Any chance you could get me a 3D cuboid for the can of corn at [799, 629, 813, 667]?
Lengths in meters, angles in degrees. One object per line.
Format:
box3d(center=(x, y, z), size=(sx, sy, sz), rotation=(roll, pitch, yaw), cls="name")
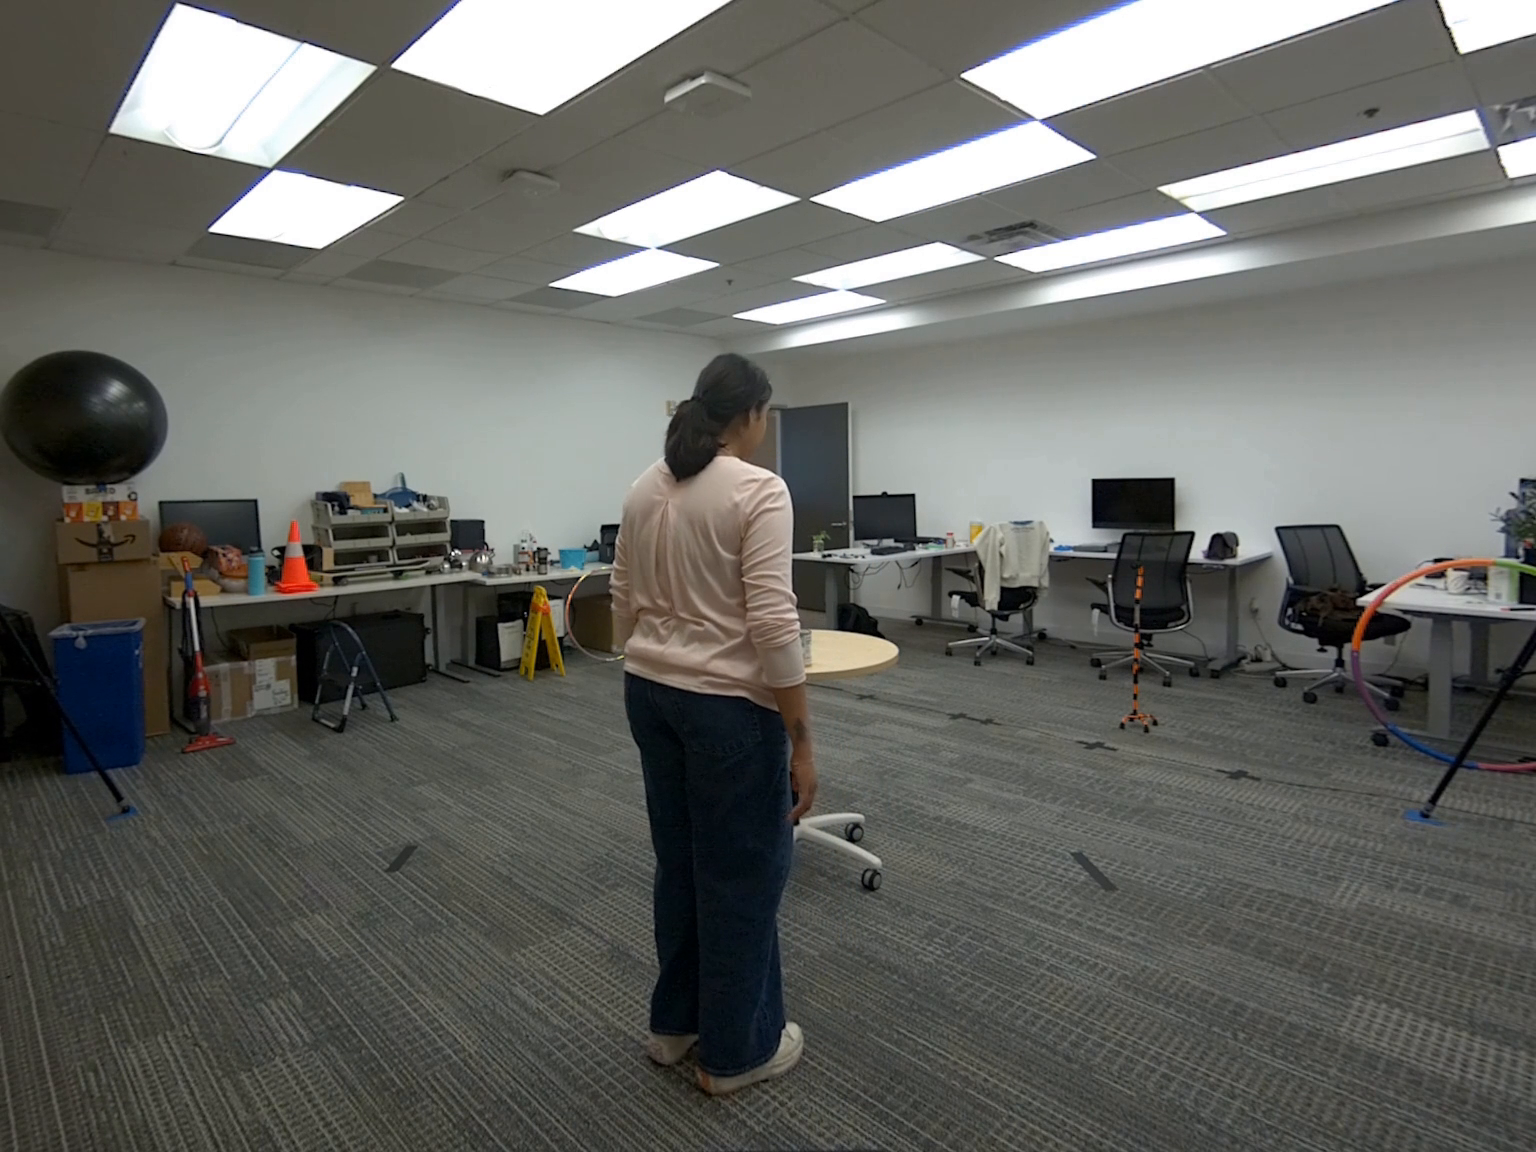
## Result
box3d(center=(0.115, 0.237, 2.793), size=(0.074, 0.110, 0.074), rotation=(-3, 4, -1), cls="can of corn")
